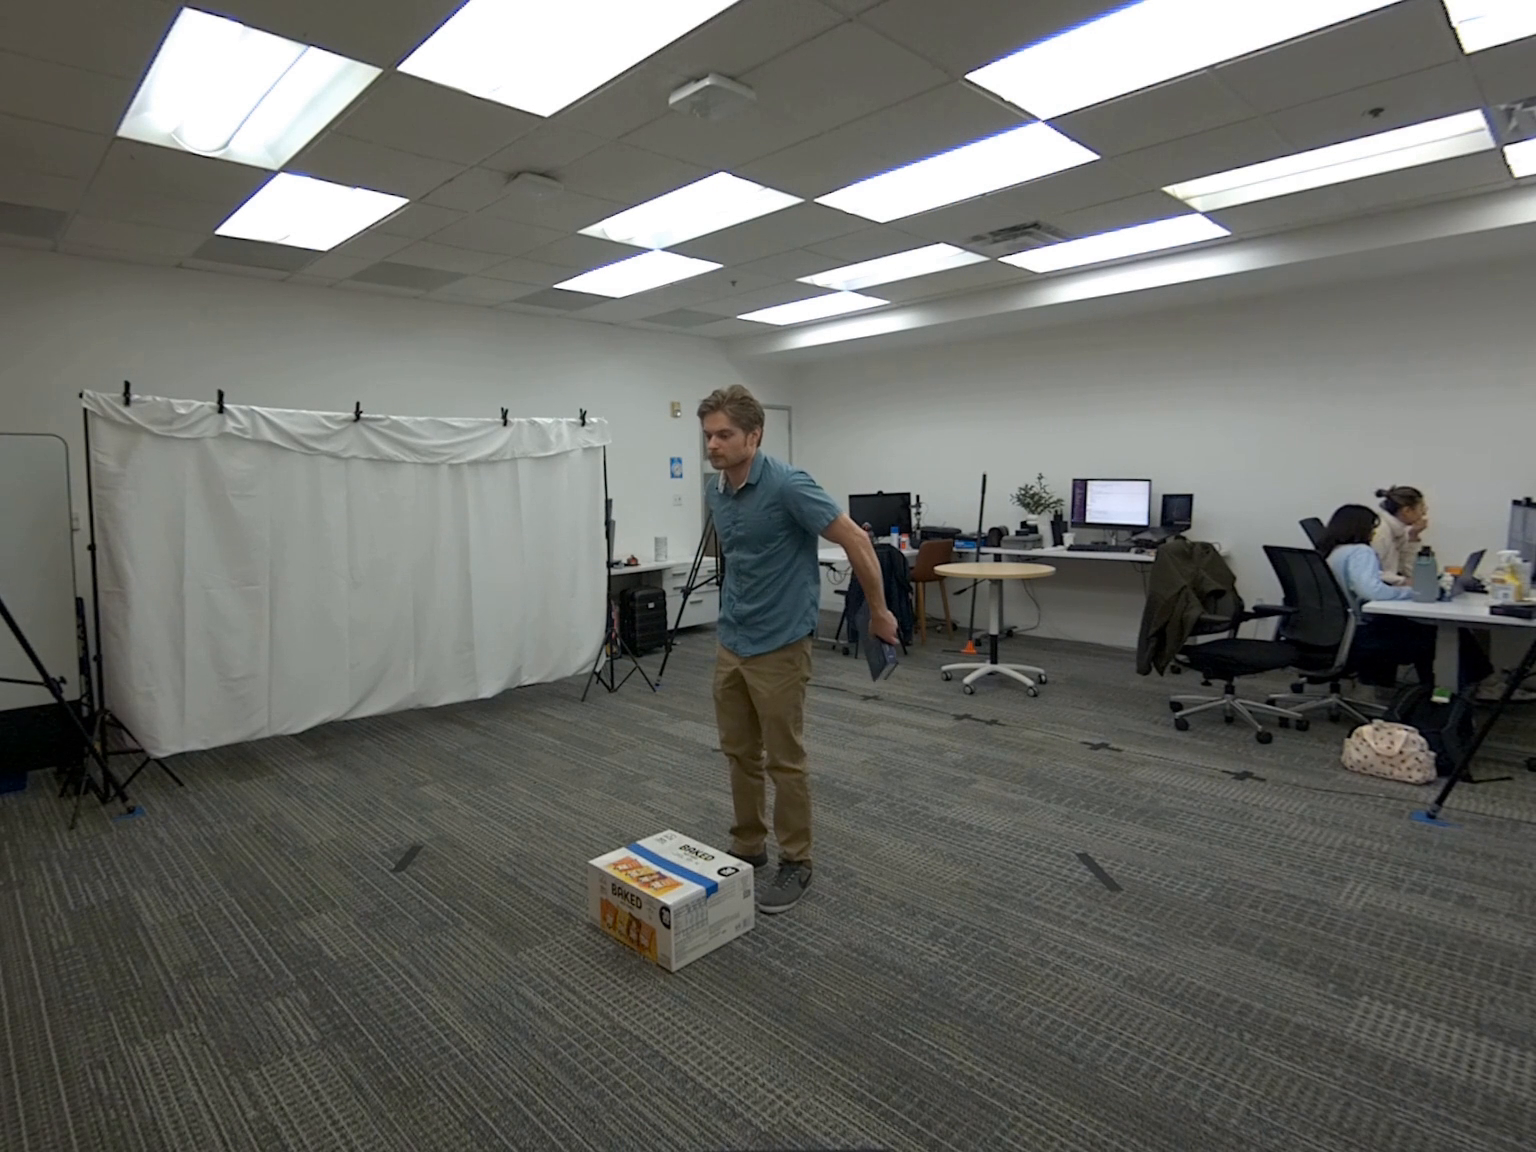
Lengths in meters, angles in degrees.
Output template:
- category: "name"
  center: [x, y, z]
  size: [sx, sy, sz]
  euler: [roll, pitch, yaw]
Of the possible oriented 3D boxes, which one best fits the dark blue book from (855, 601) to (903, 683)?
- category: "dark blue book"
  center: [0.368, 0.211, 2.879]
  size: [0.044, 0.251, 0.161]
  euler: [-6, -26, -15]
